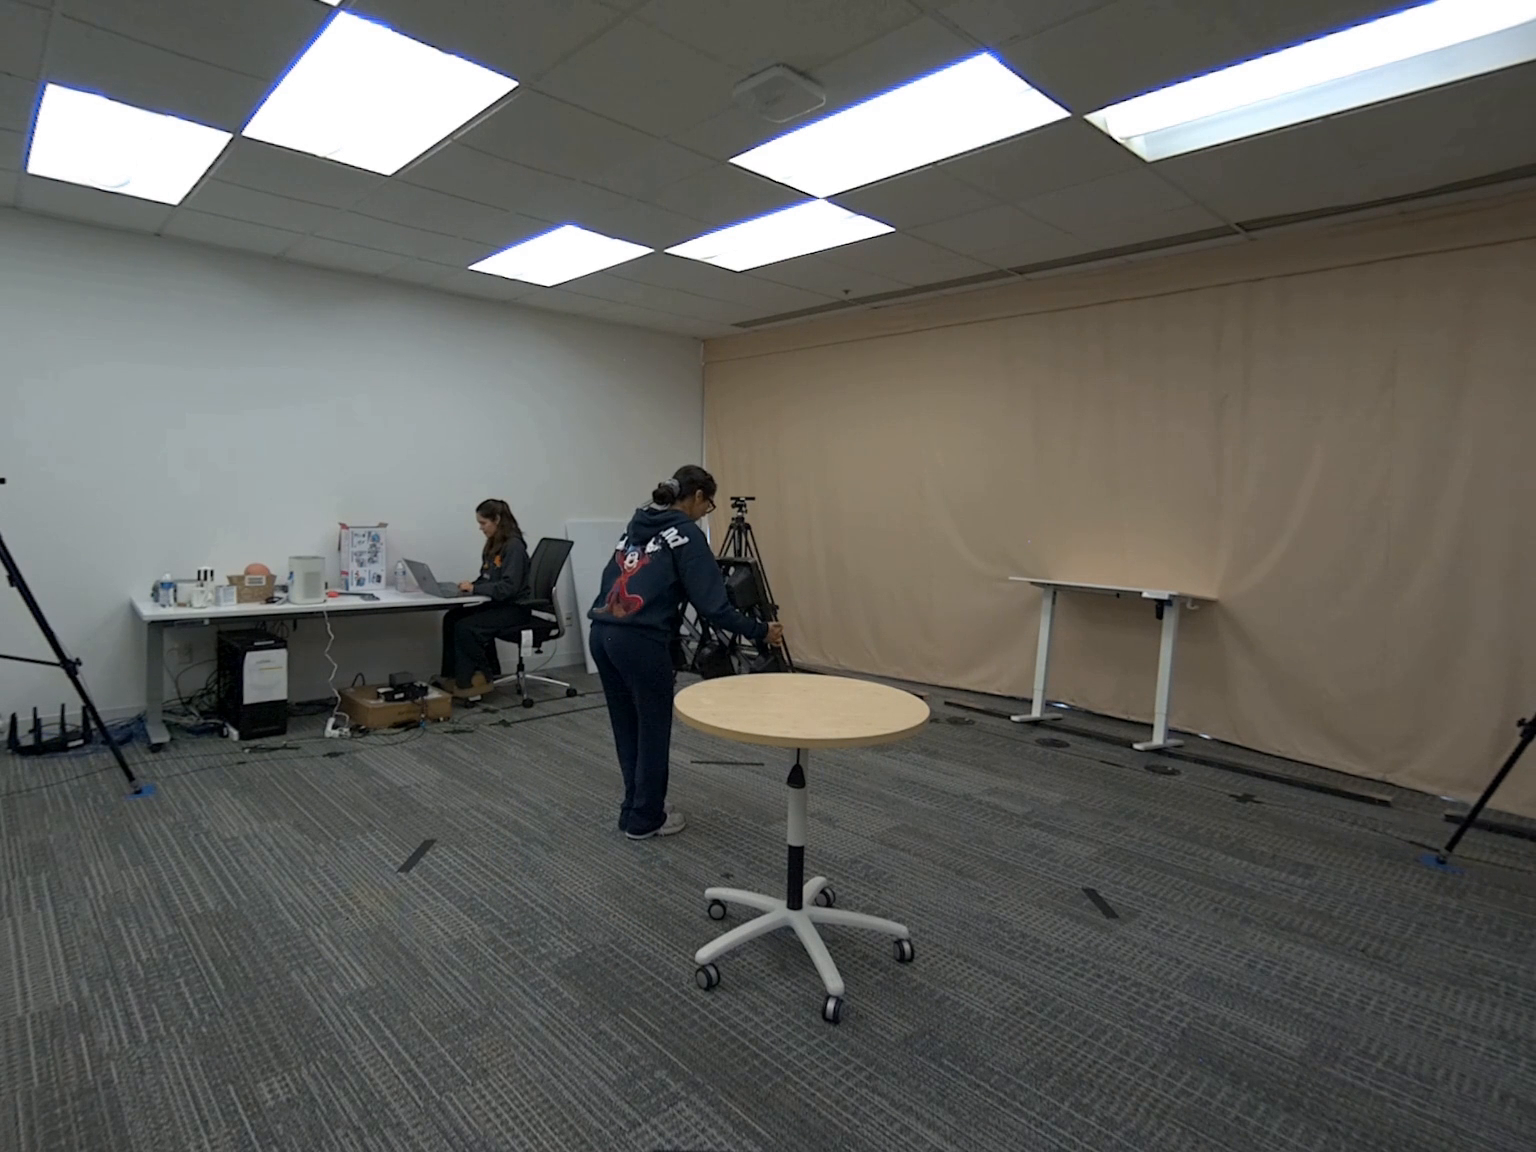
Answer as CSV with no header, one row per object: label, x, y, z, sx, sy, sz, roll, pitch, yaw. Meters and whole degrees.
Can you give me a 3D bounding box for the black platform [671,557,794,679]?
black platform,-0.302,0.202,3.648,0.825,0.596,0.142,3,24,46
